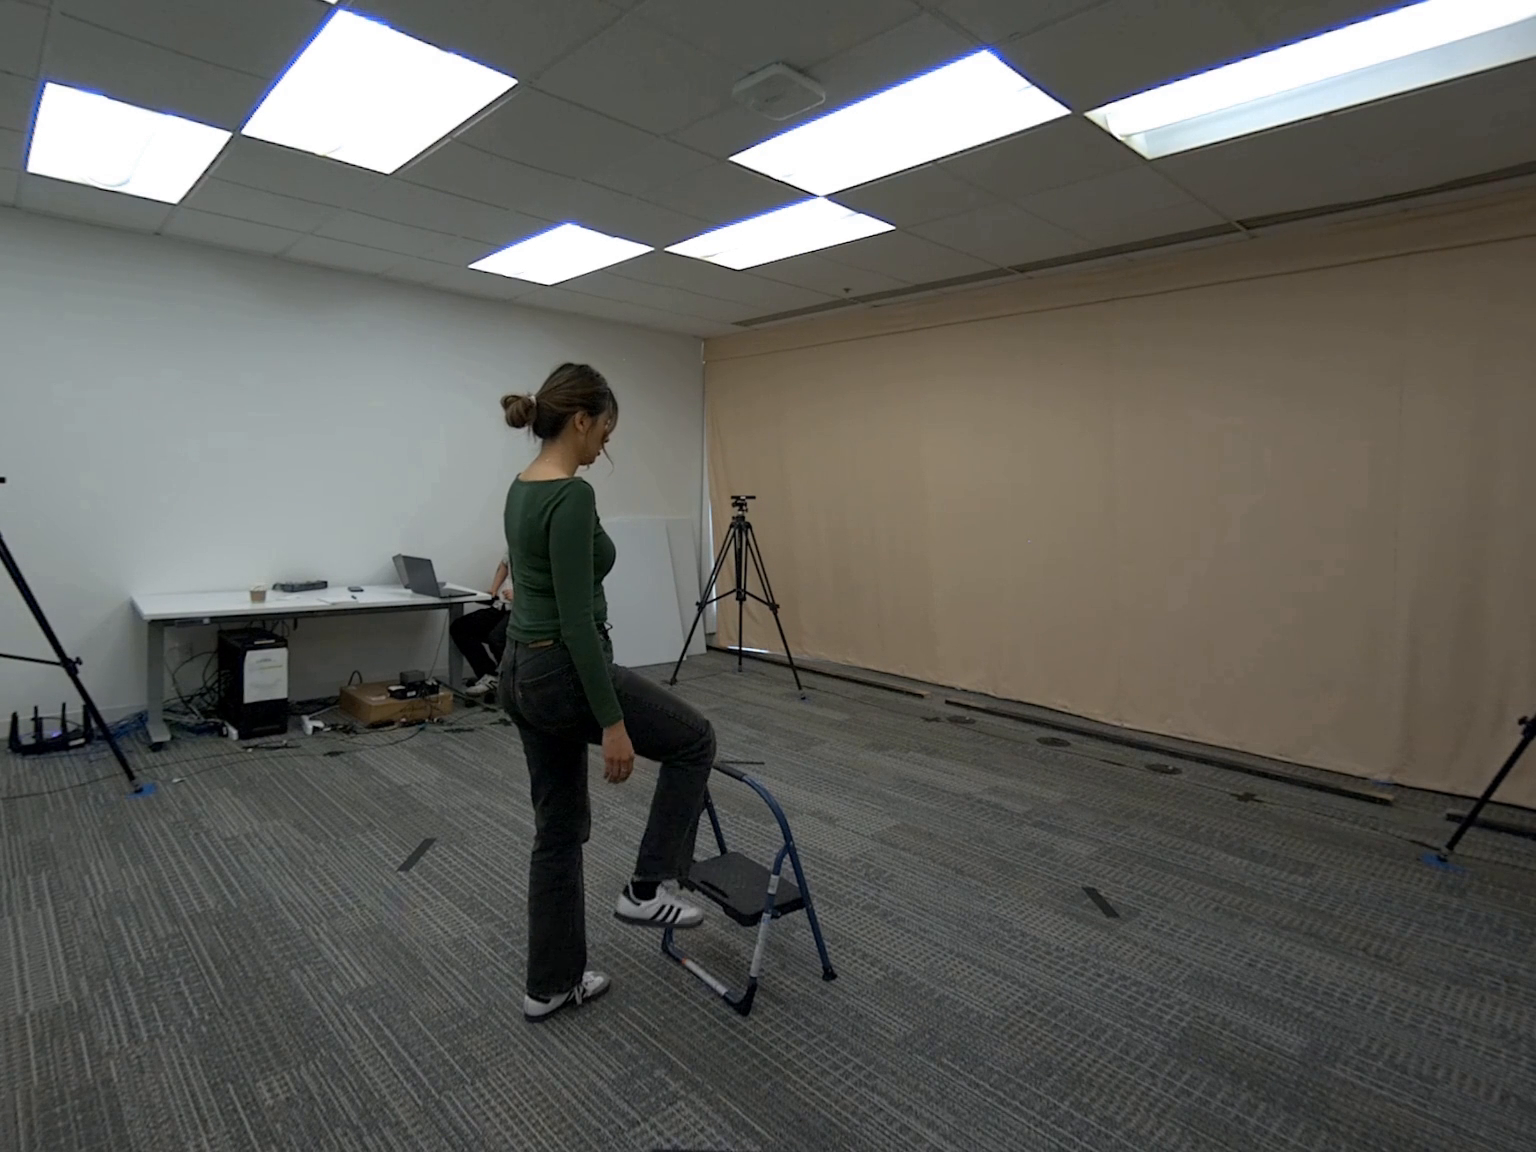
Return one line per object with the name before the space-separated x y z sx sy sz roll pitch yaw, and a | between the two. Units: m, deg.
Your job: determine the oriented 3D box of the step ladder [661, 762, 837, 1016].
step ladder | -0.063 0.856 2.496 0.341 0.604 0.441 -2 5 -40
